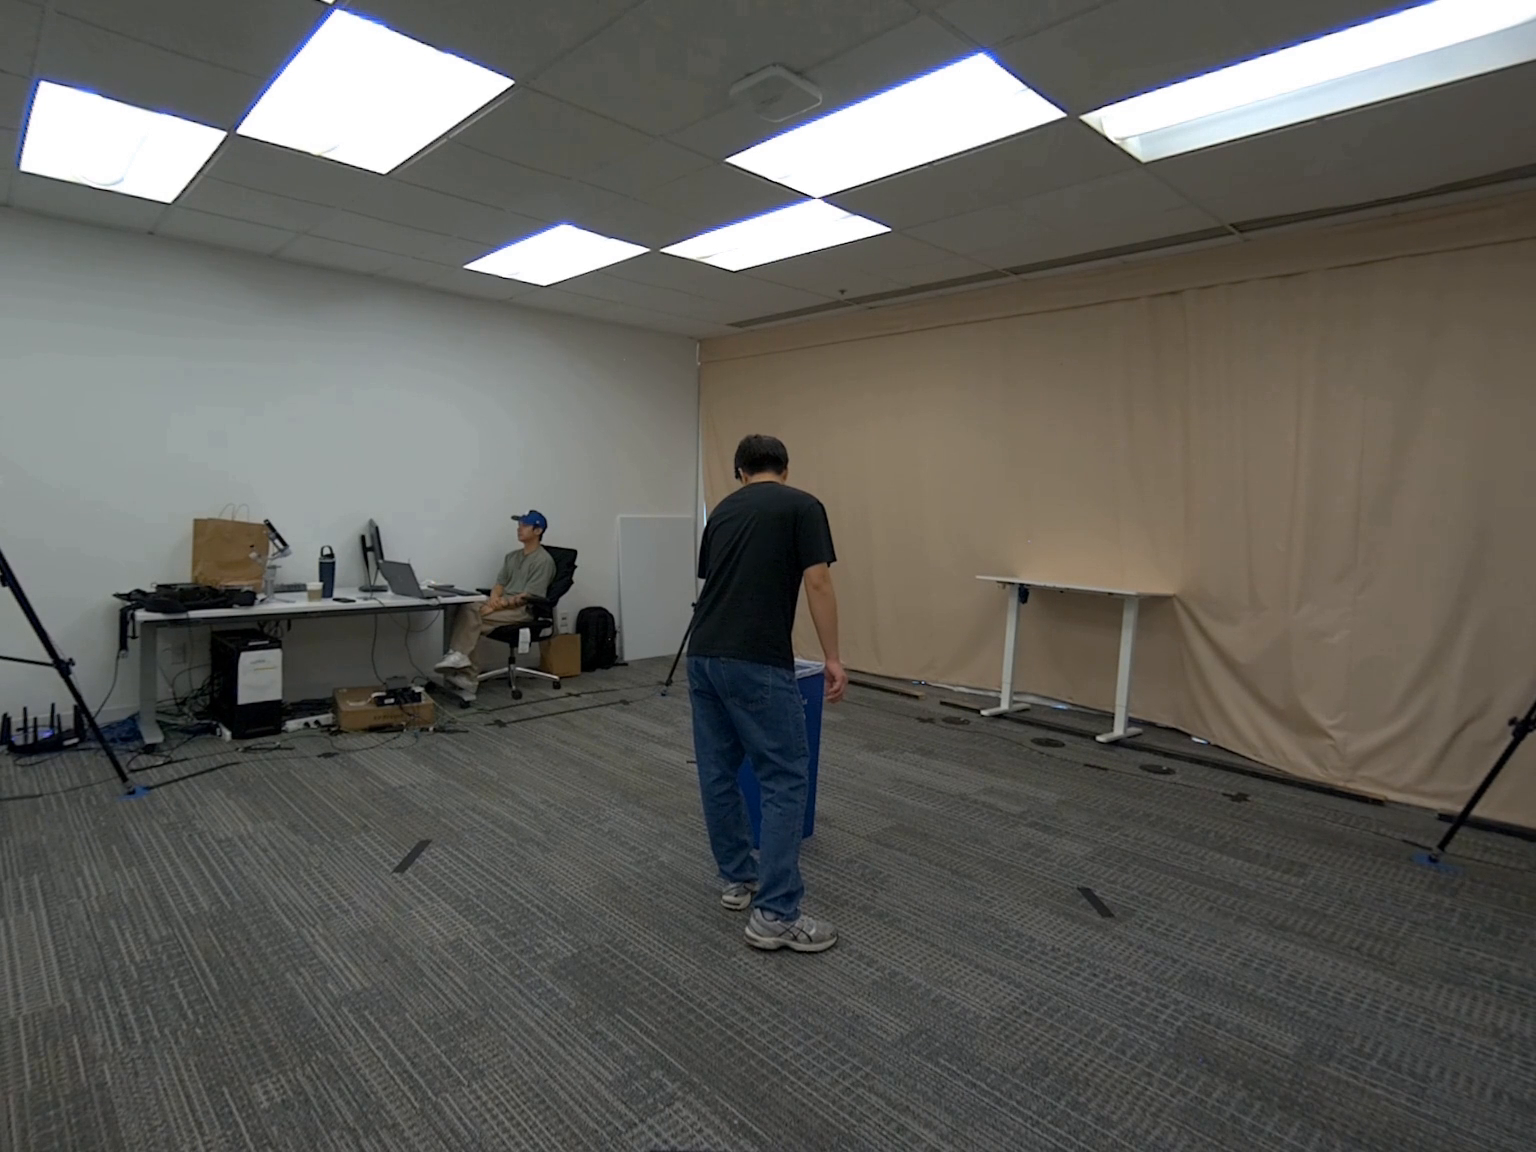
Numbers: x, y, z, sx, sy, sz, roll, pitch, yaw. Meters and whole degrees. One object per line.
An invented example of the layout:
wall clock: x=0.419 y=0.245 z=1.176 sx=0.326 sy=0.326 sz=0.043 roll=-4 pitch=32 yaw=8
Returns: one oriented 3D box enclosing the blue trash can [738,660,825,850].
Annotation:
blue trash can: x=-0.004 y=0.721 z=3.509 sx=0.388 sy=0.712 sz=0.365 roll=5 pitch=4 yaw=41
